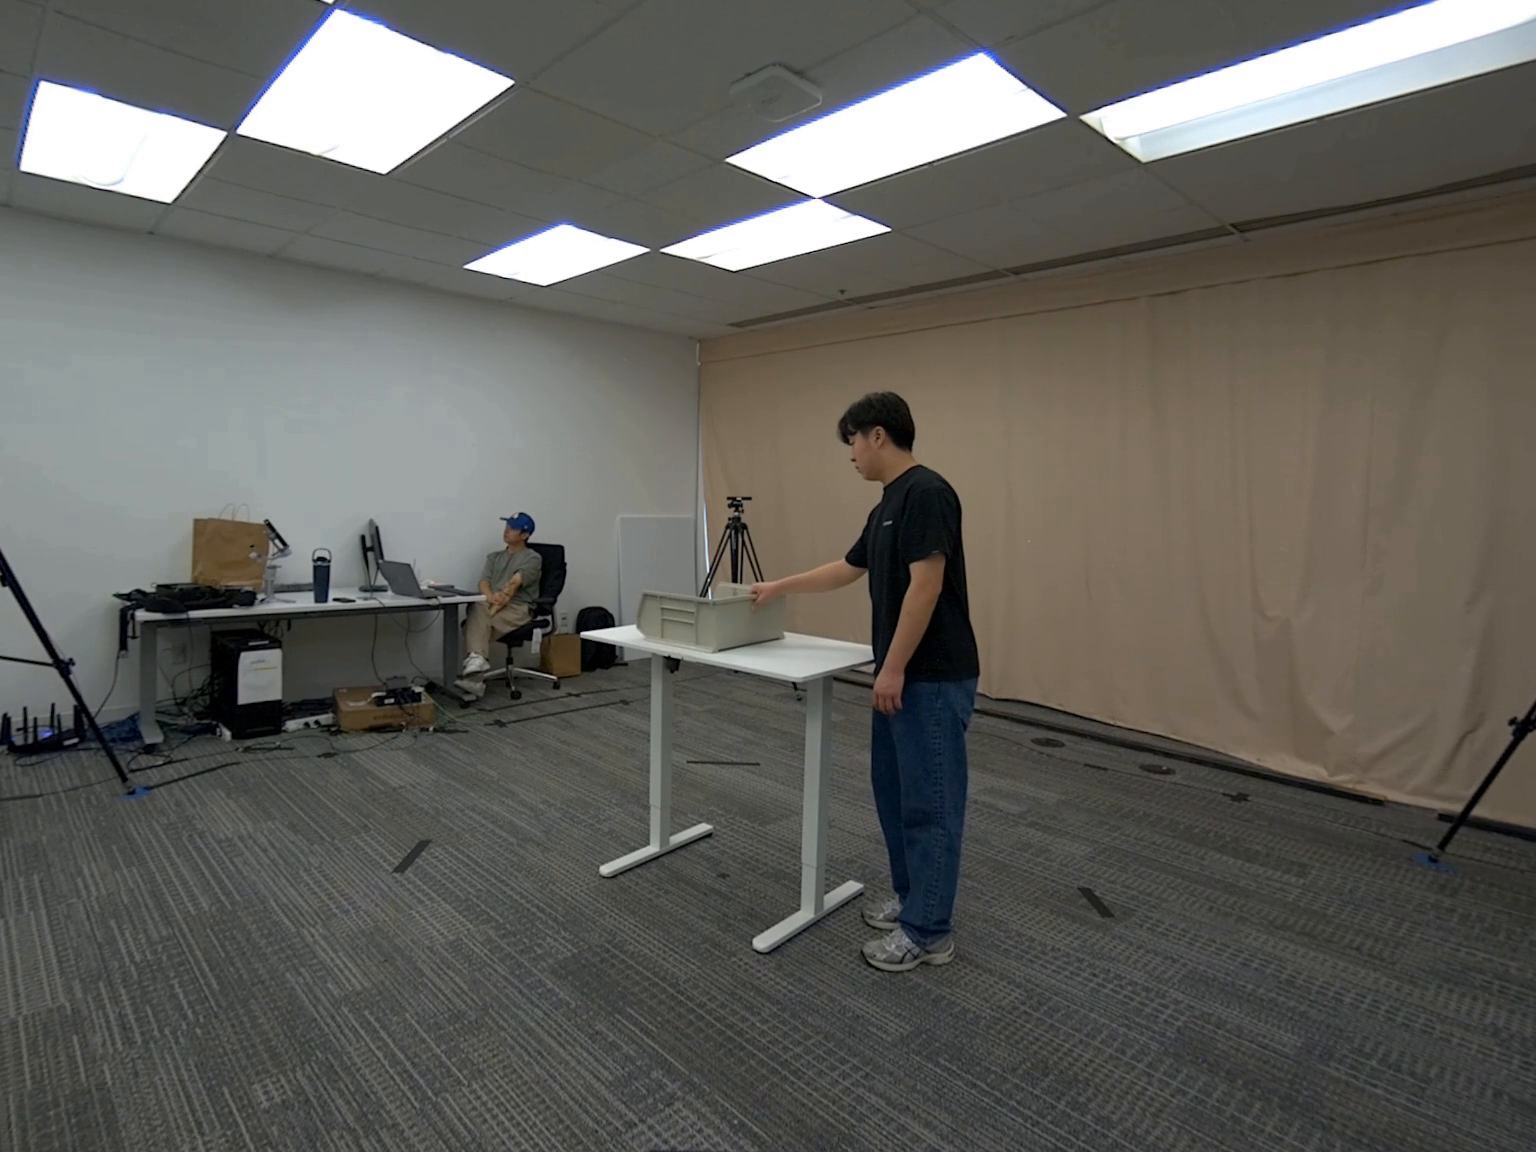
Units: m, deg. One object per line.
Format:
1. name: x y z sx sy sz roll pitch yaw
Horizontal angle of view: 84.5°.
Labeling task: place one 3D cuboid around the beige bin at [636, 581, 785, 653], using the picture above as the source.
1. beige bin: -0.204 0.143 3.021 0.387 0.188 0.413 7 7 38
